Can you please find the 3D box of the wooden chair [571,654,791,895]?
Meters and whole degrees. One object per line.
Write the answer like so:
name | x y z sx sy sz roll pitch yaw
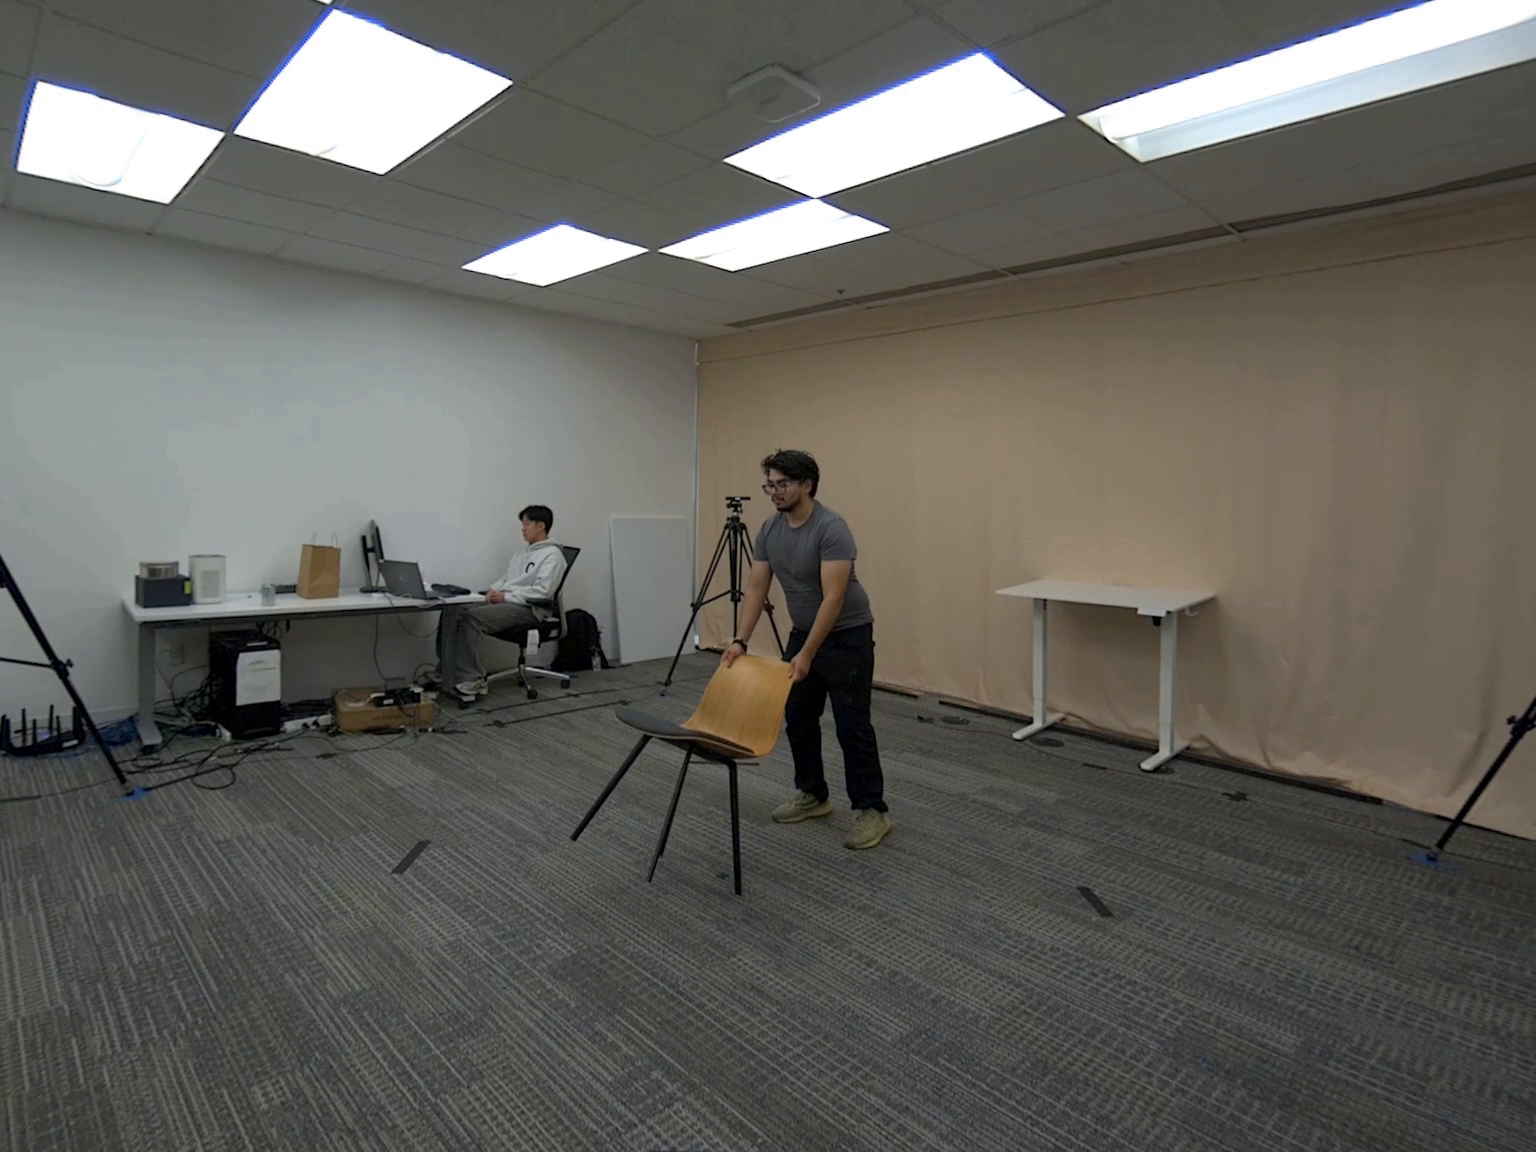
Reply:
wooden chair | -0.283 0.625 3.036 0.490 0.882 0.507 5 -21 45
